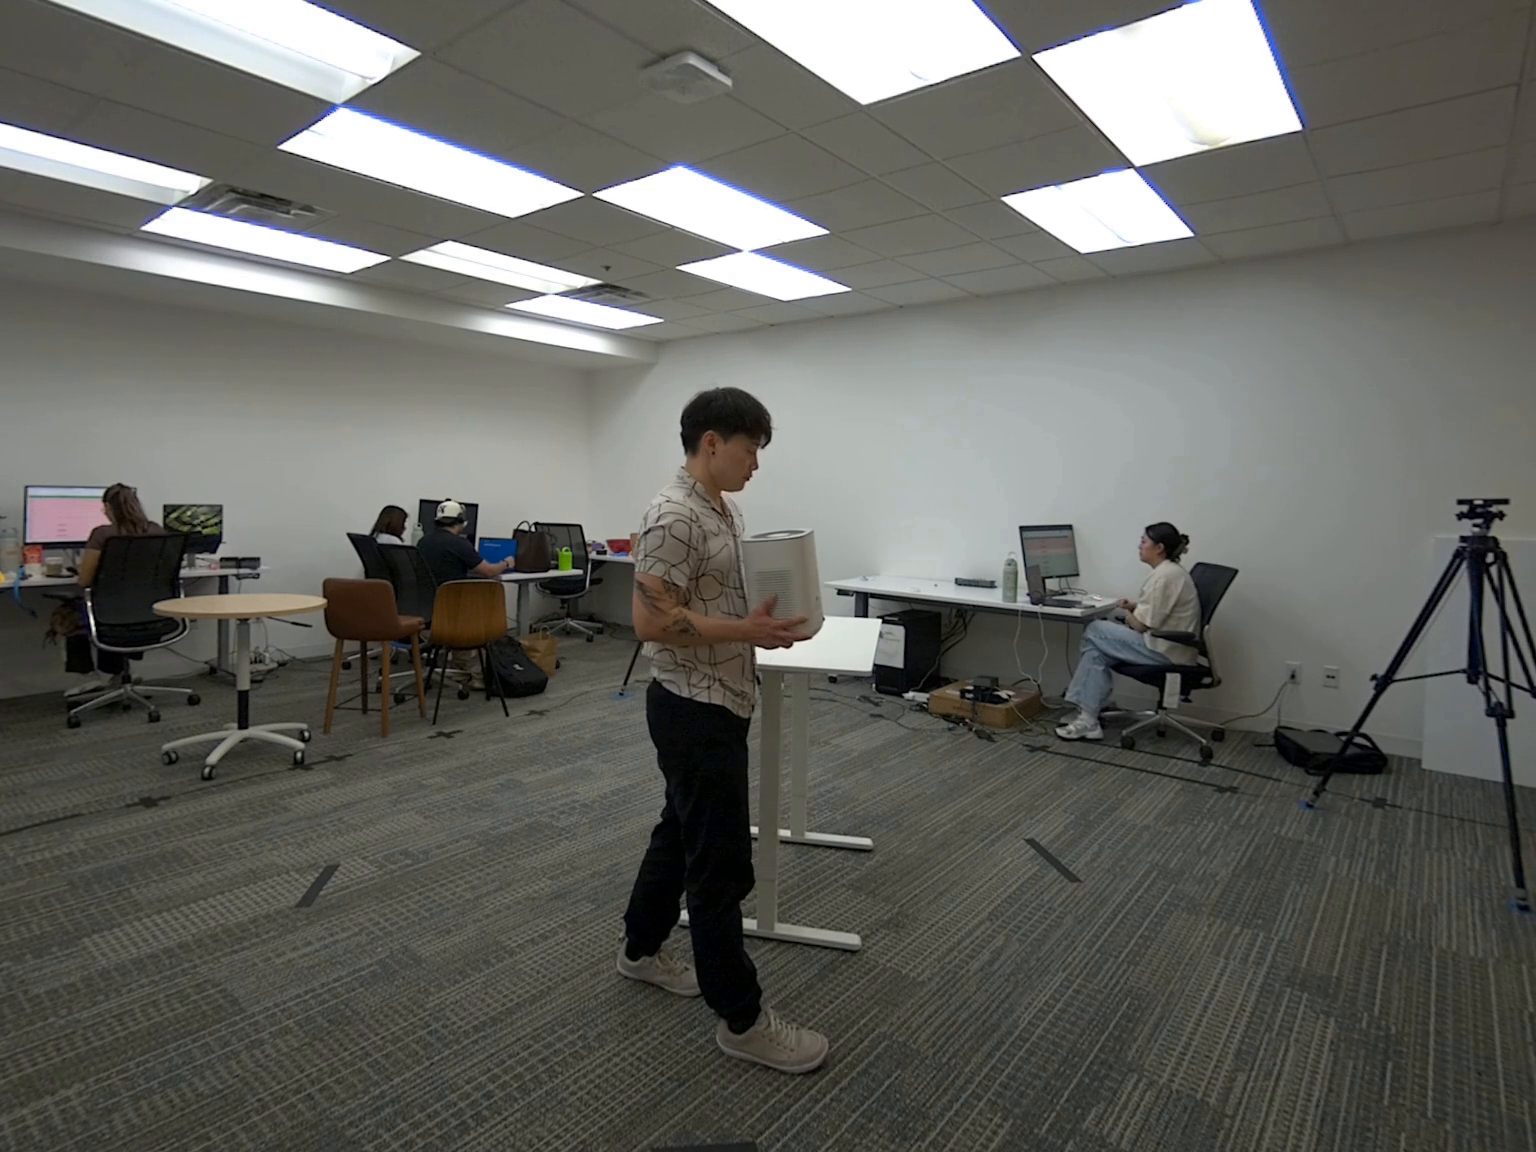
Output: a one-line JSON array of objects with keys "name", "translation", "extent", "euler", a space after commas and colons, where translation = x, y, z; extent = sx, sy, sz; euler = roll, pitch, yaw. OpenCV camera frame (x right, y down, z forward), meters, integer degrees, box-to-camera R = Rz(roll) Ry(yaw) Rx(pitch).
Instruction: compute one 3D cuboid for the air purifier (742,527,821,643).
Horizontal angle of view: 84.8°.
[{"name": "air purifier", "translation": [0.024, 0.020, 2.149], "extent": [0.174, 0.264, 0.169], "euler": [-2, 6, 15]}]
